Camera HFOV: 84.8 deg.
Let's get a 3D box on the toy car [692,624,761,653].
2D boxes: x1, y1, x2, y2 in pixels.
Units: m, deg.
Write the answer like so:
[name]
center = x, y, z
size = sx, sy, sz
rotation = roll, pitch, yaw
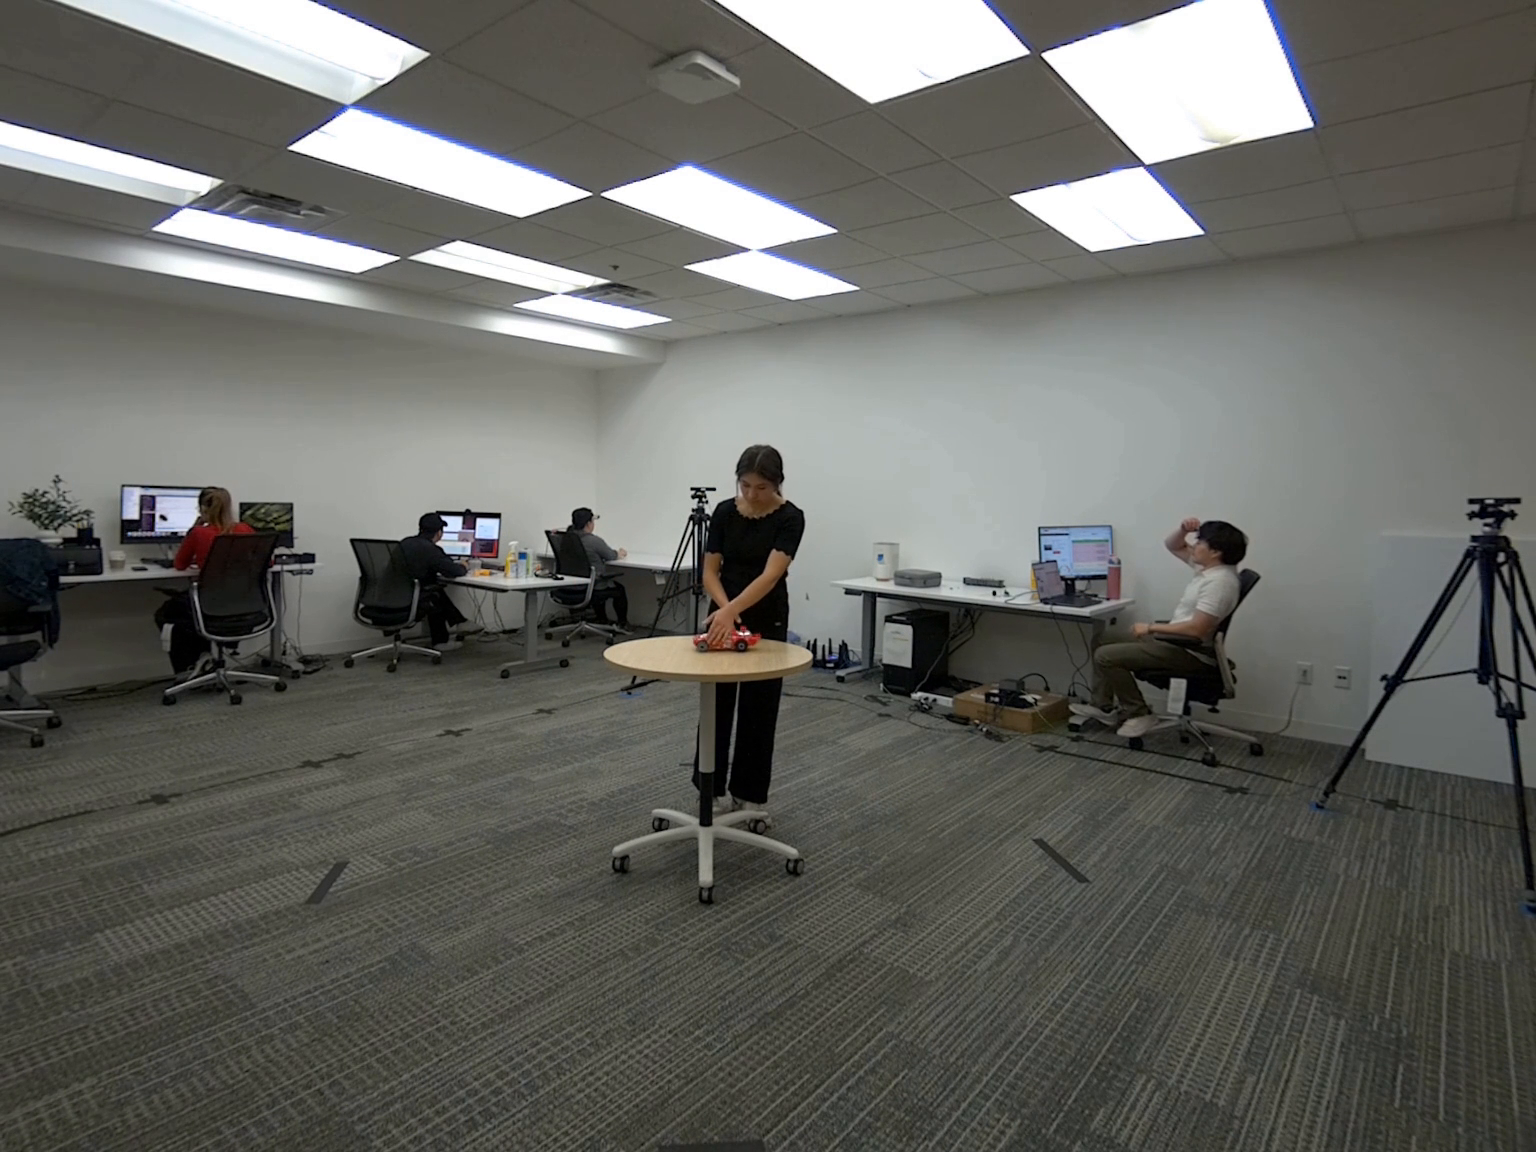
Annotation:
[toy car]
center = -0.168, 0.243, 3.195
size = 0.254, 0.083, 0.131
rotation = -12, 6, -2
